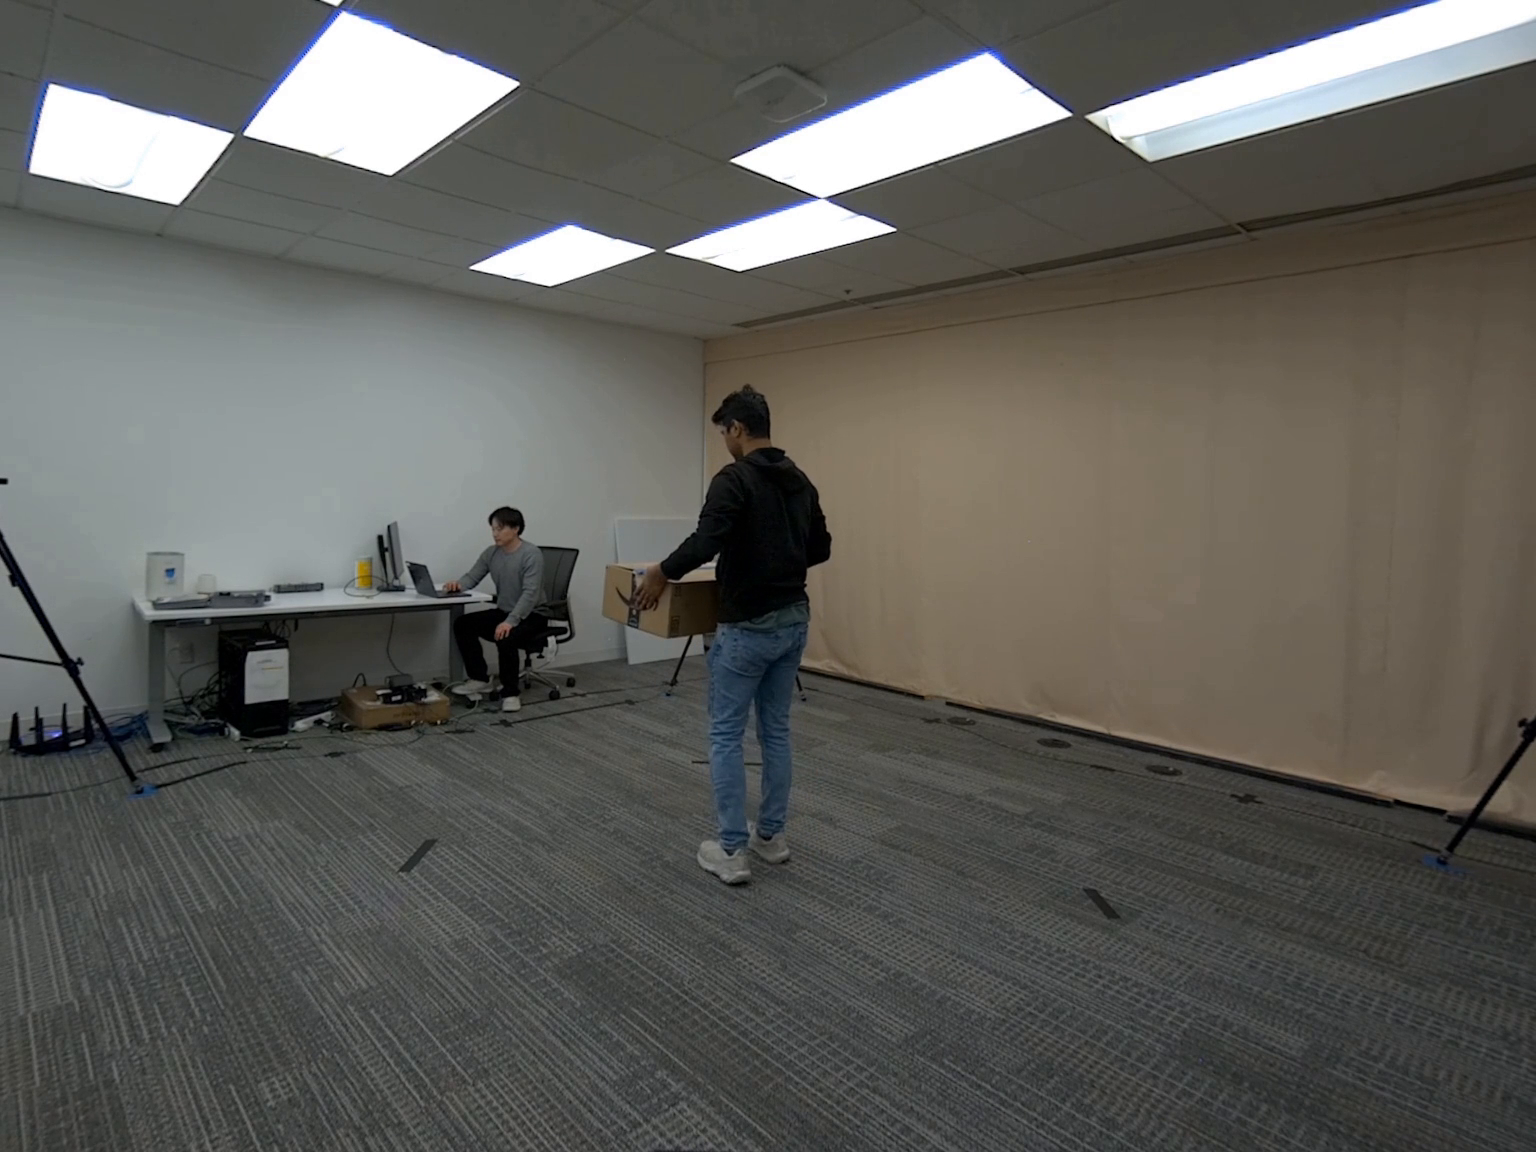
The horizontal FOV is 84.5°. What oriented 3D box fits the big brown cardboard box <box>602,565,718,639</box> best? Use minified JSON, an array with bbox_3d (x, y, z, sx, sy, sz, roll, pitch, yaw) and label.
[{"bbox_3d":[-0.324,0.078,3.453,0.429,0.232,0.576,12,11,43],"label":"big brown cardboard box"}]
